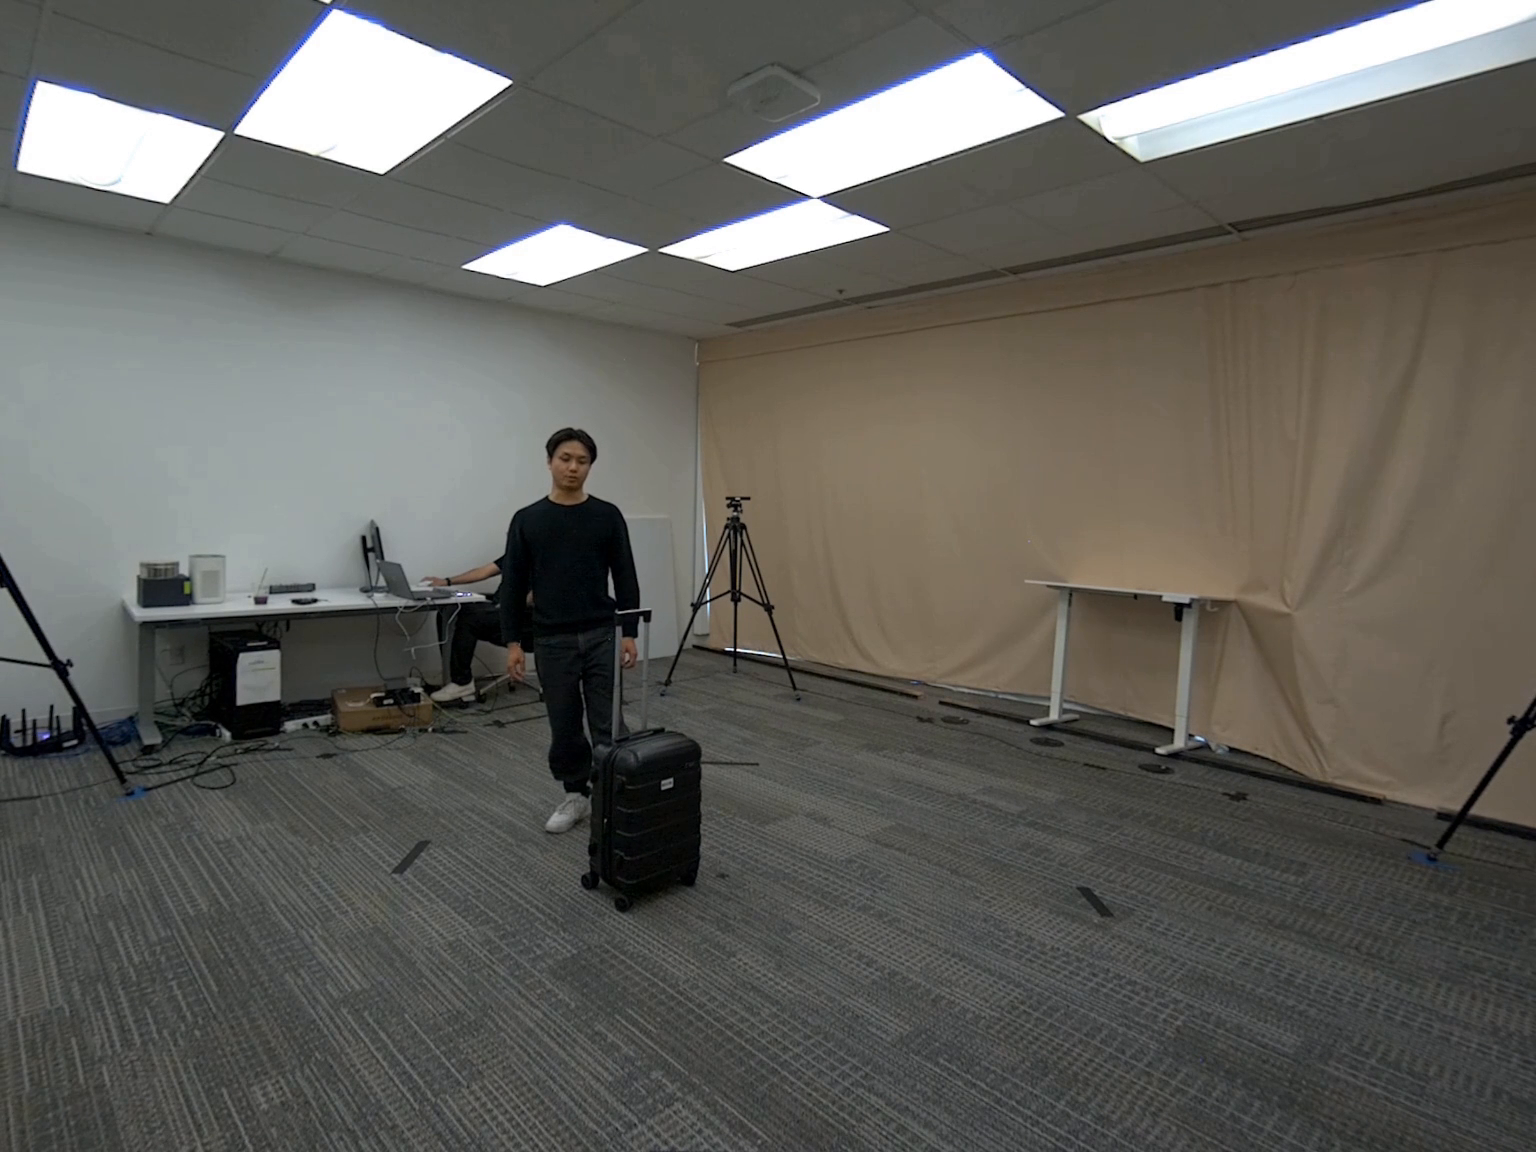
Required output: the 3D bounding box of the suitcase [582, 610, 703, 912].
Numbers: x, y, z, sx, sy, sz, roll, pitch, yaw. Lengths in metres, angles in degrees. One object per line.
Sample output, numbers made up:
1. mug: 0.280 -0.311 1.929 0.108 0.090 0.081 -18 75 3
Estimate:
1. suitcase: -0.430 0.635 2.973 0.264 0.975 0.375 8 7 44
